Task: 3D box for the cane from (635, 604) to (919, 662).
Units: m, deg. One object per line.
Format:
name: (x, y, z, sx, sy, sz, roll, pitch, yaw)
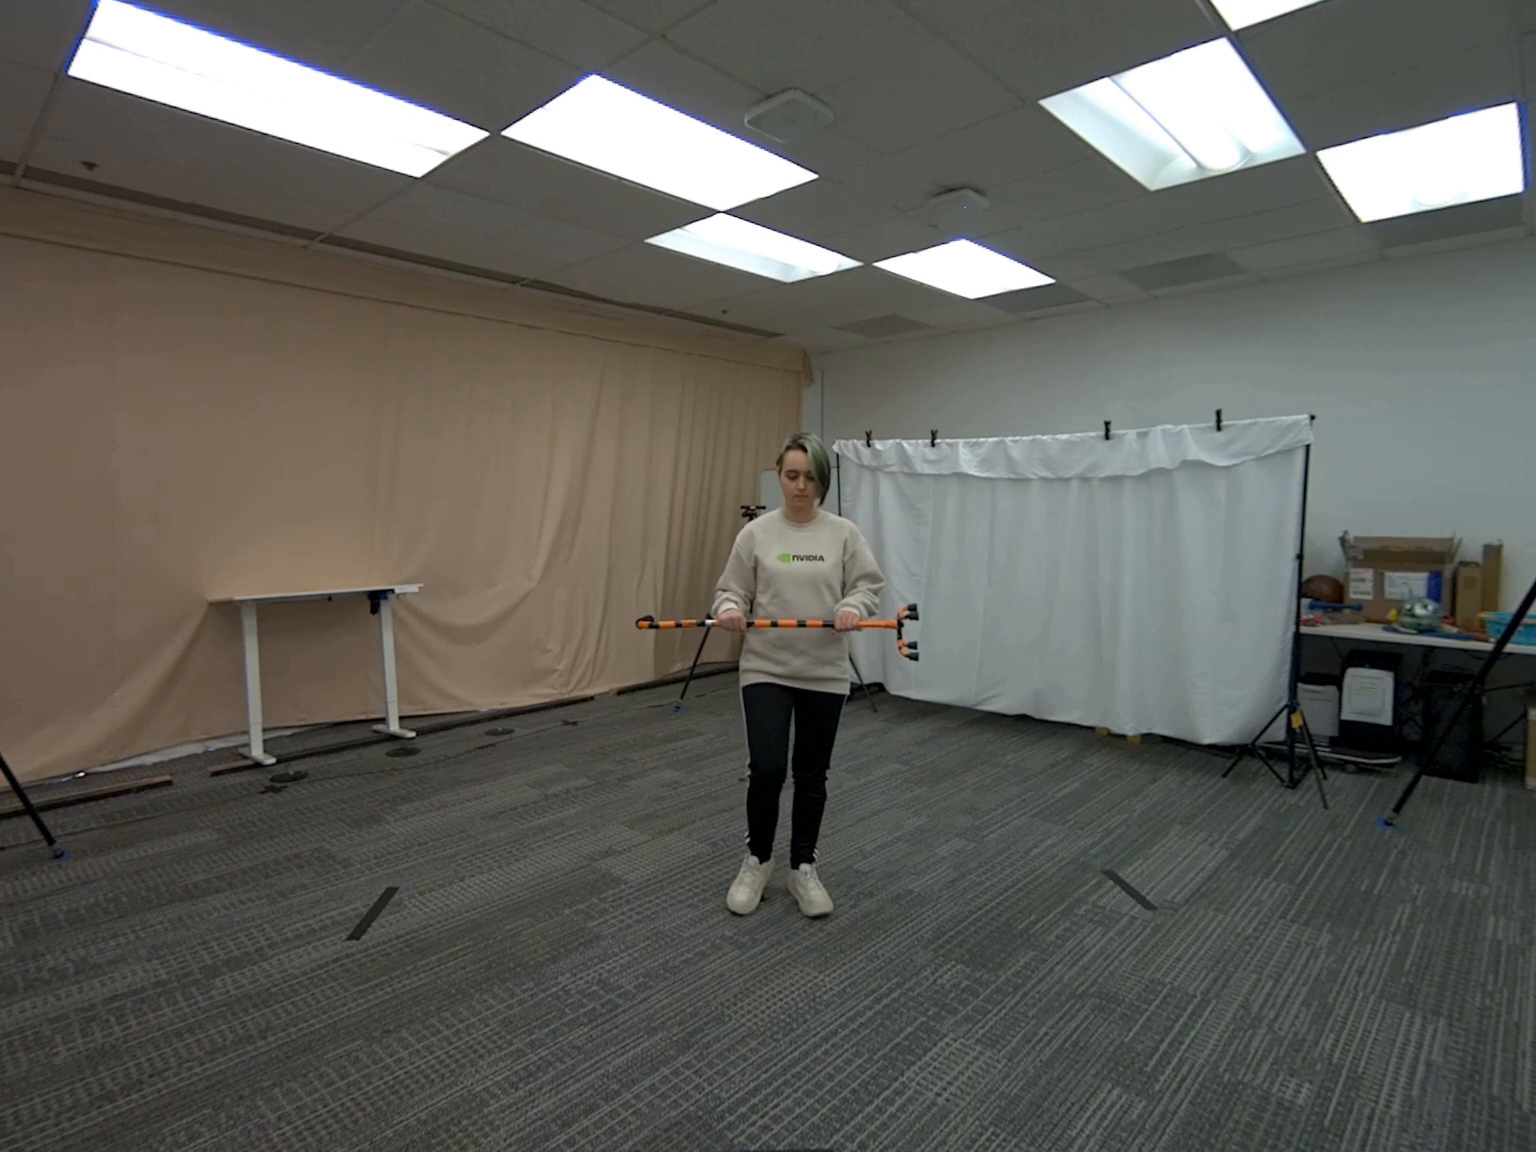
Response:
cane: (0.007, 0.168, 2.680, 0.919, 0.151, 0.205, 1, 6, 11)
